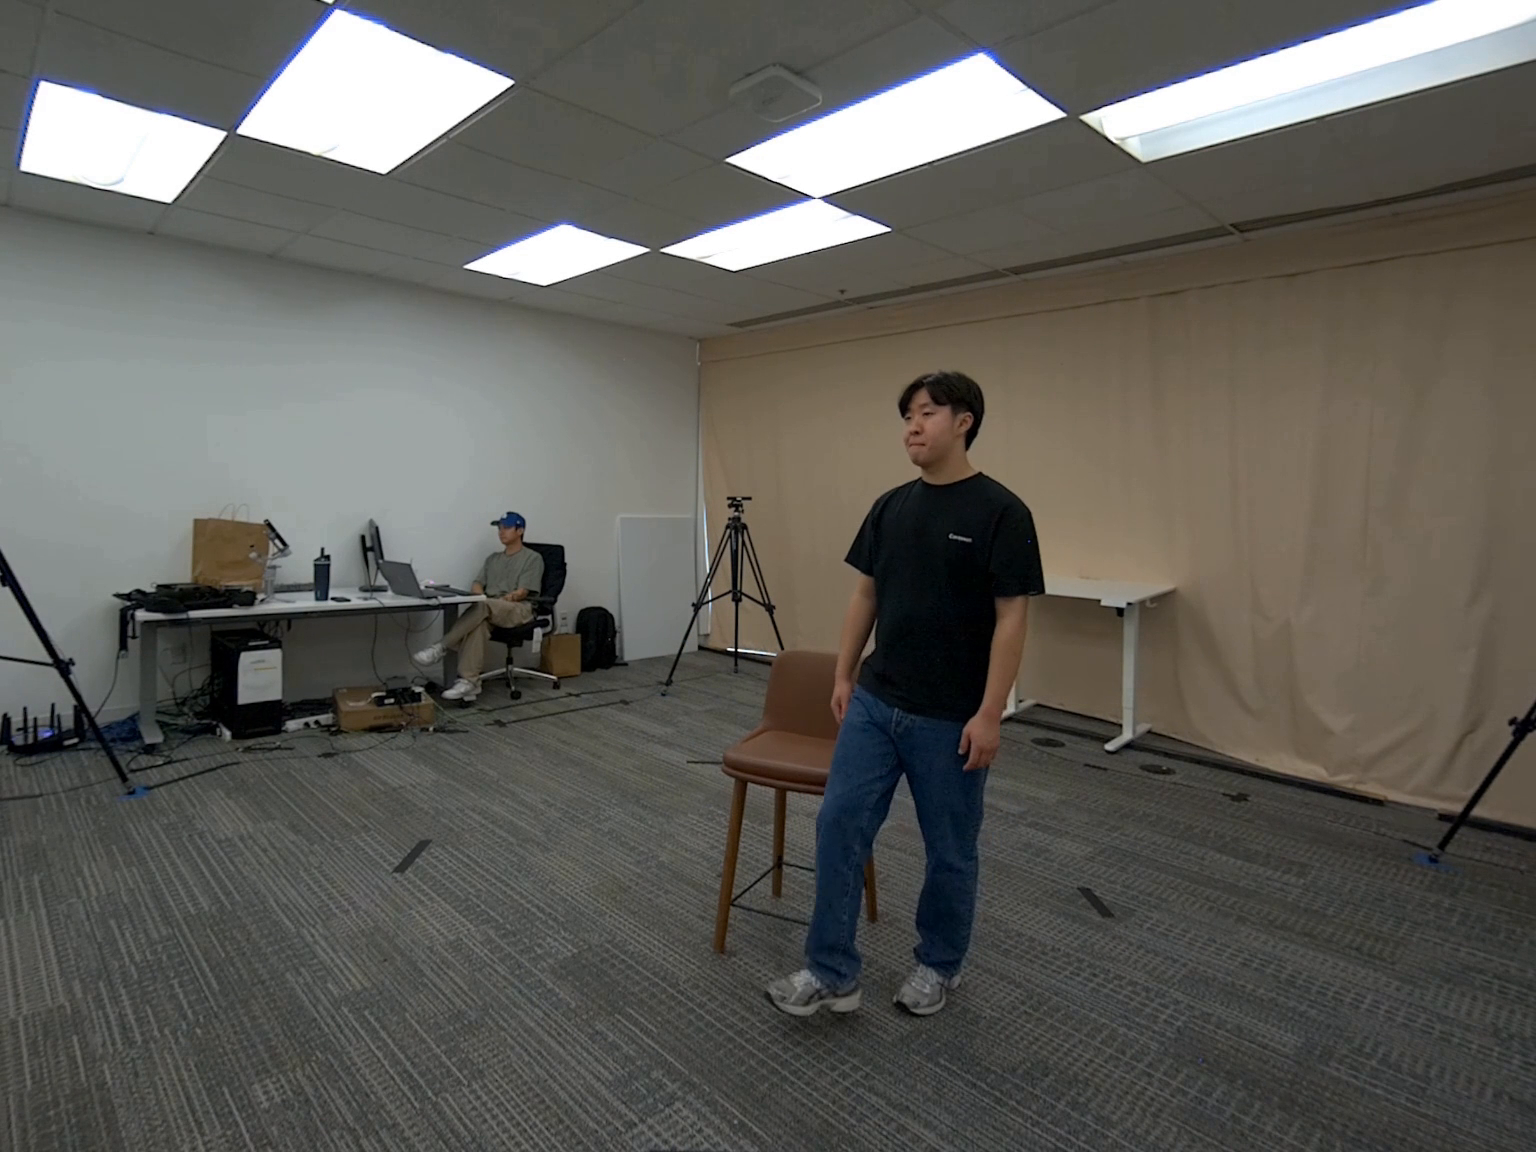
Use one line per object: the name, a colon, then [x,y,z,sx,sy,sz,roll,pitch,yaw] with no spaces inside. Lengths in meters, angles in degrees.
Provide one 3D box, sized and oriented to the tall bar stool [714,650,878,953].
tall bar stool: [0.118,0.718,2.668,0.466,0.889,0.459,3,2,26]
